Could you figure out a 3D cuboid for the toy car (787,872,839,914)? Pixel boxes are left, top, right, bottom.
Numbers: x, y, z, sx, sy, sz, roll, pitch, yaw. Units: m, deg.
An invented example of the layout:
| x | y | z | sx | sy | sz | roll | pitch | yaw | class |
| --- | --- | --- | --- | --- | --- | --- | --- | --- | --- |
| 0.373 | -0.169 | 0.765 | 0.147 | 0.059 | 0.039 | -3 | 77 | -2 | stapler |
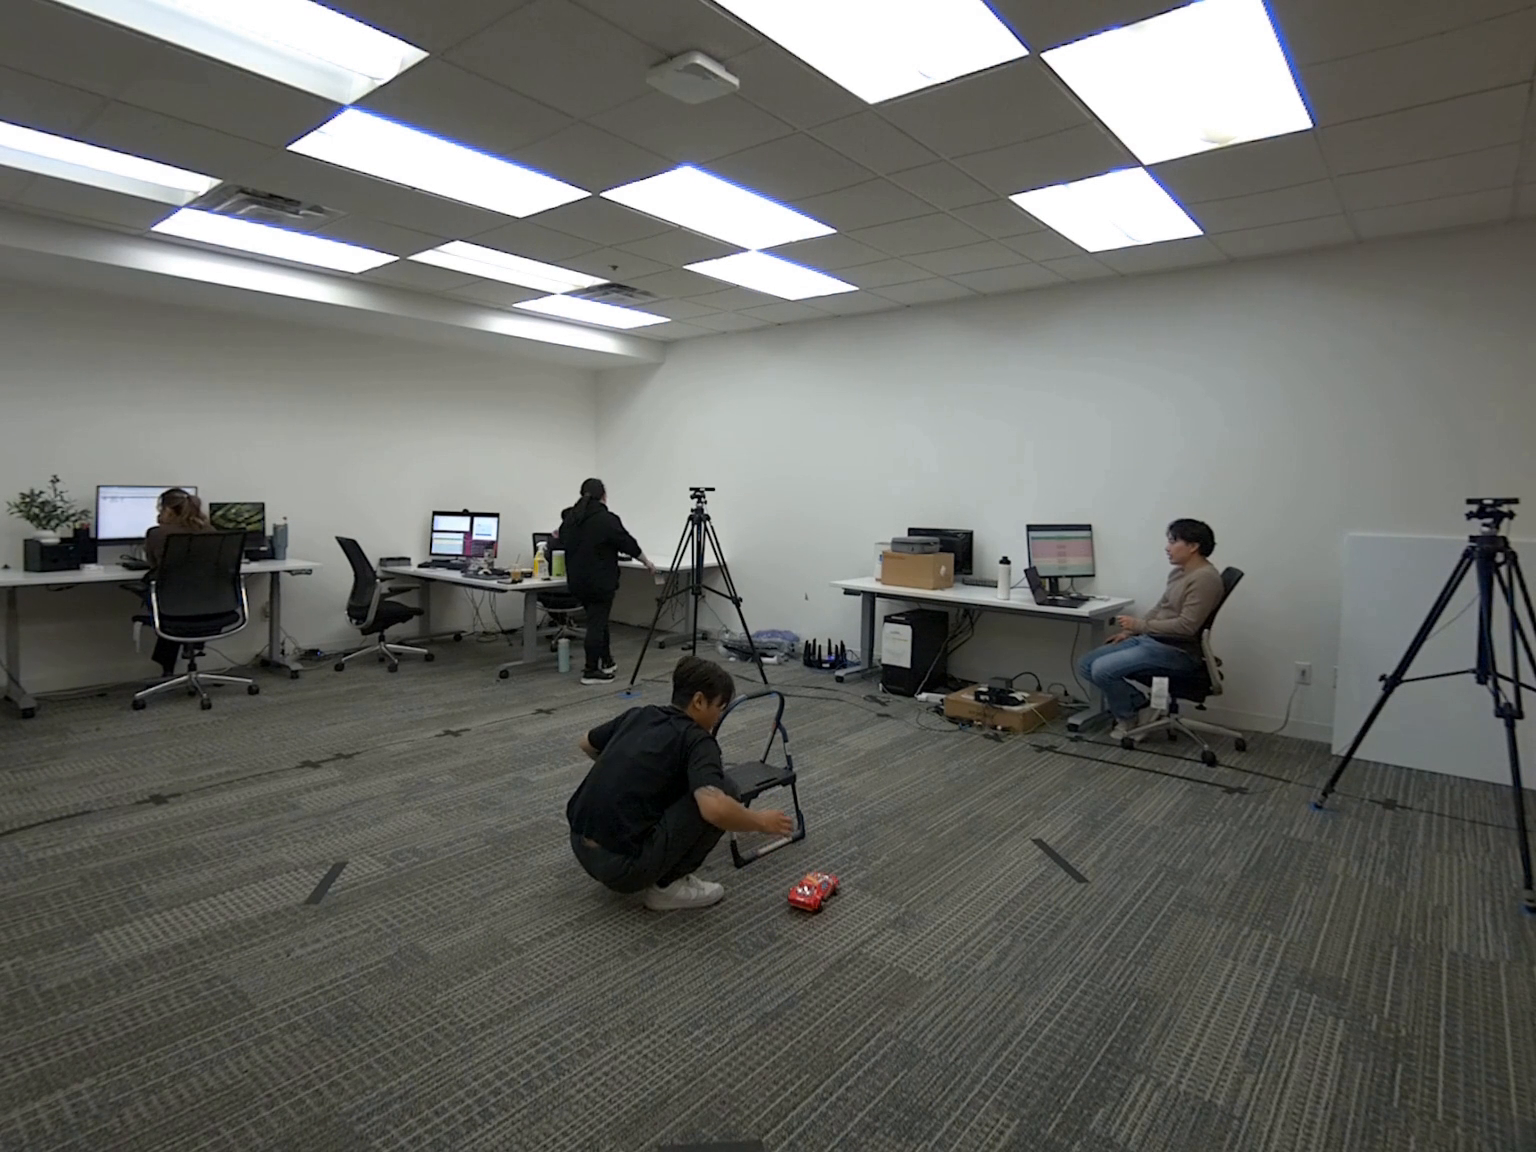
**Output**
| x | y | z | sx | sy | sz | roll | pitch | yaw | class |
| --- | --- | --- | --- | --- | --- | --- | --- | --- | --- |
| 0.139 | 1.085 | 2.939 | 0.127 | 0.083 | 0.260 | -15 | -1 | -41 | toy car |
